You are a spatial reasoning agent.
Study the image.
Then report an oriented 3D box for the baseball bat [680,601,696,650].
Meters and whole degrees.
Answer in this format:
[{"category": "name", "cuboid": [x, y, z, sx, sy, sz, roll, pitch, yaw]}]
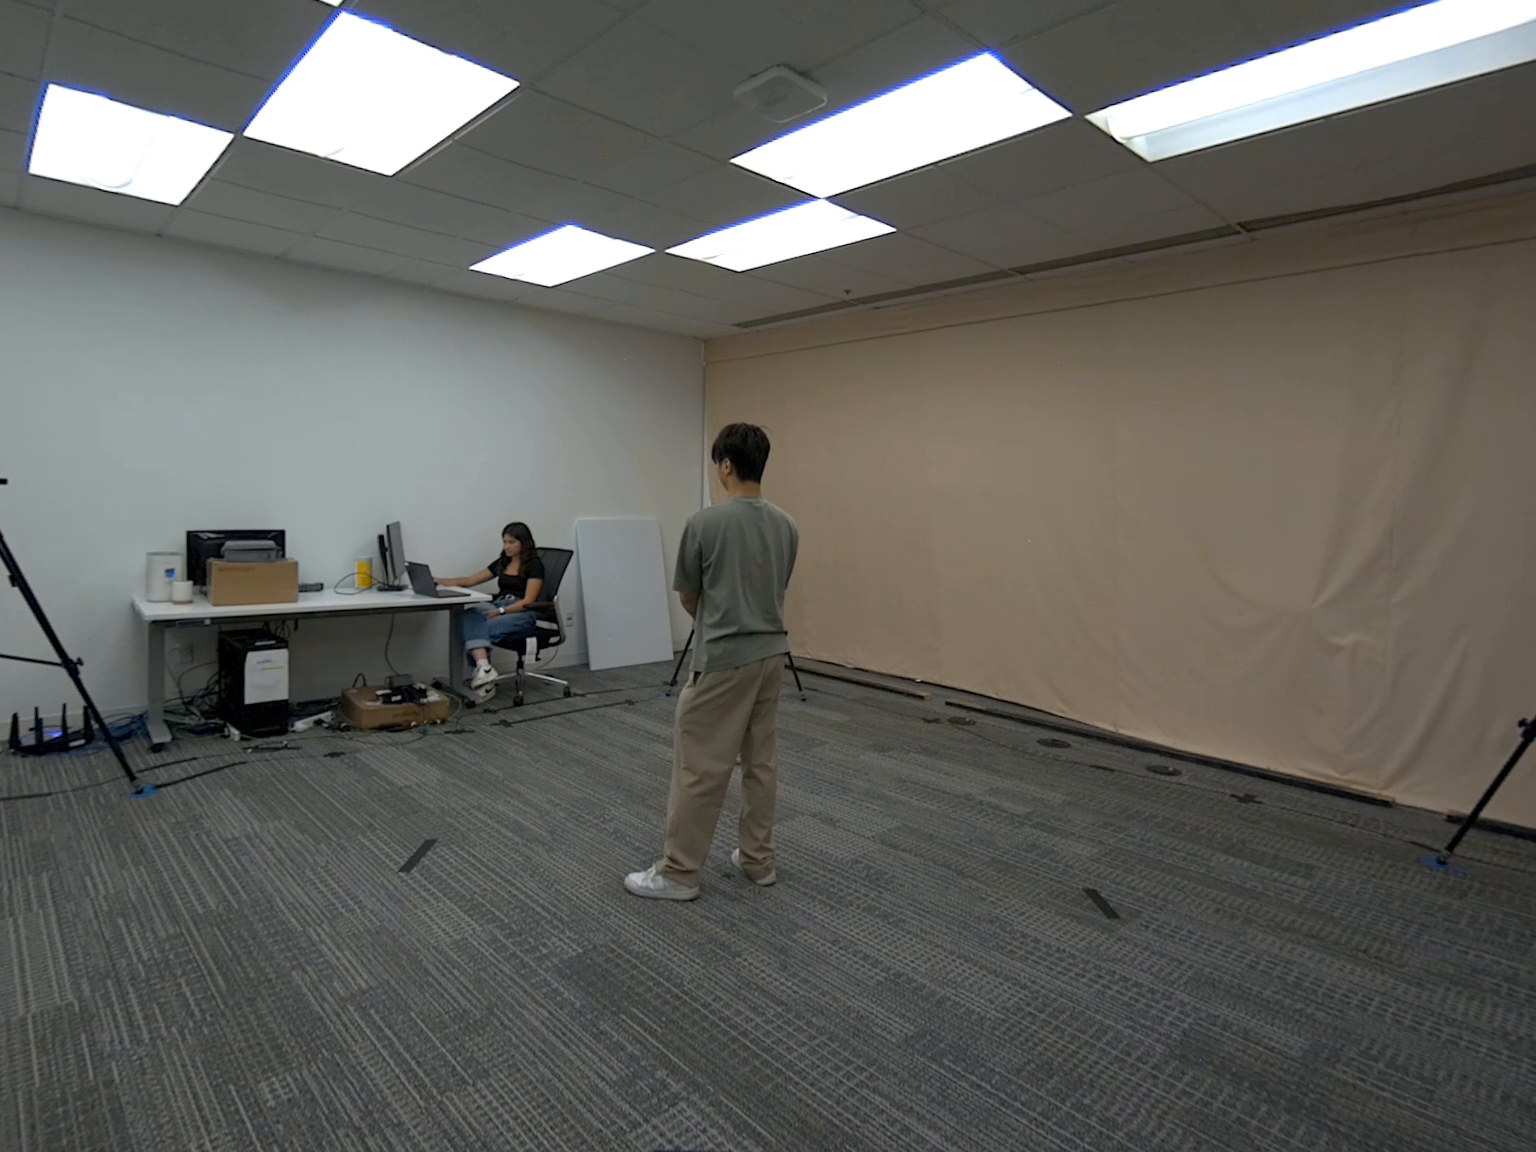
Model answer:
[{"category": "baseball bat", "cuboid": [-0.316, 0.155, 3.516, 0.088, 0.088, 0.552, 1, 18, -7]}]
